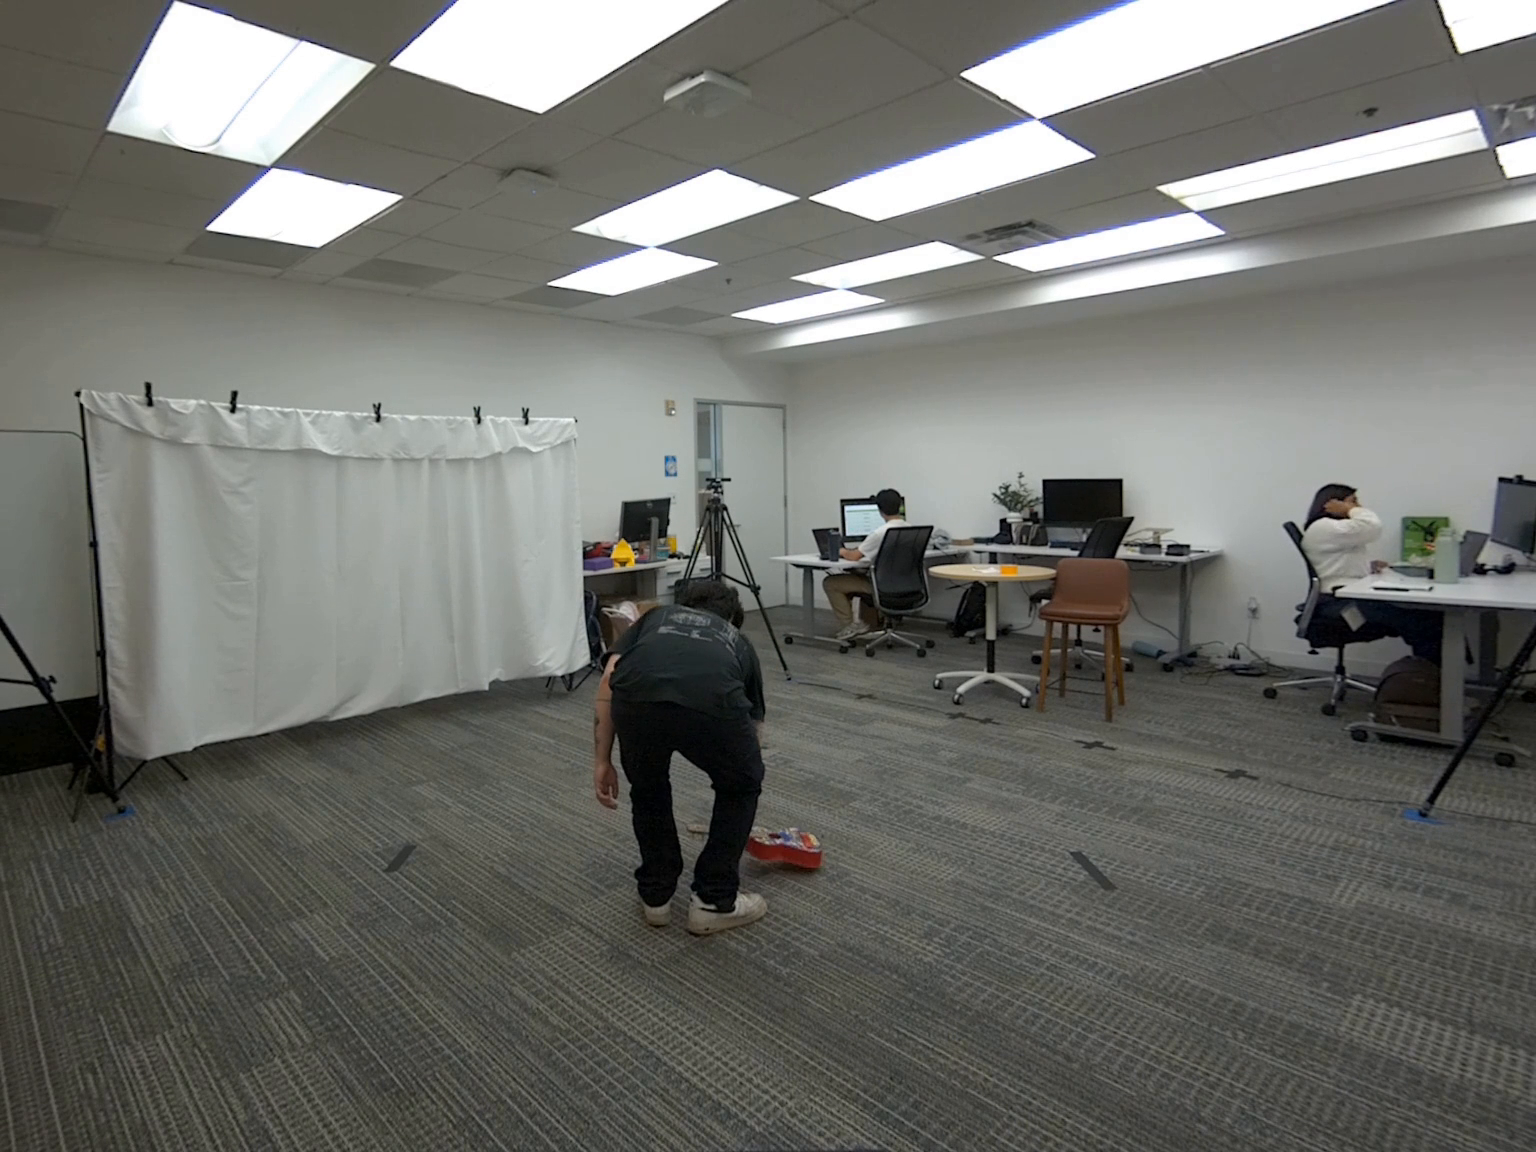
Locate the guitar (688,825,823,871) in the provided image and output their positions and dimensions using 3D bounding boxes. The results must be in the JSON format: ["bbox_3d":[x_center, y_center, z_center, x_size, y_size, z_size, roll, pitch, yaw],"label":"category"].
[{"bbox_3d":[-0.048,0.936,3.074,0.496,0.070,0.194,9,6,-3],"label":"guitar"}]
